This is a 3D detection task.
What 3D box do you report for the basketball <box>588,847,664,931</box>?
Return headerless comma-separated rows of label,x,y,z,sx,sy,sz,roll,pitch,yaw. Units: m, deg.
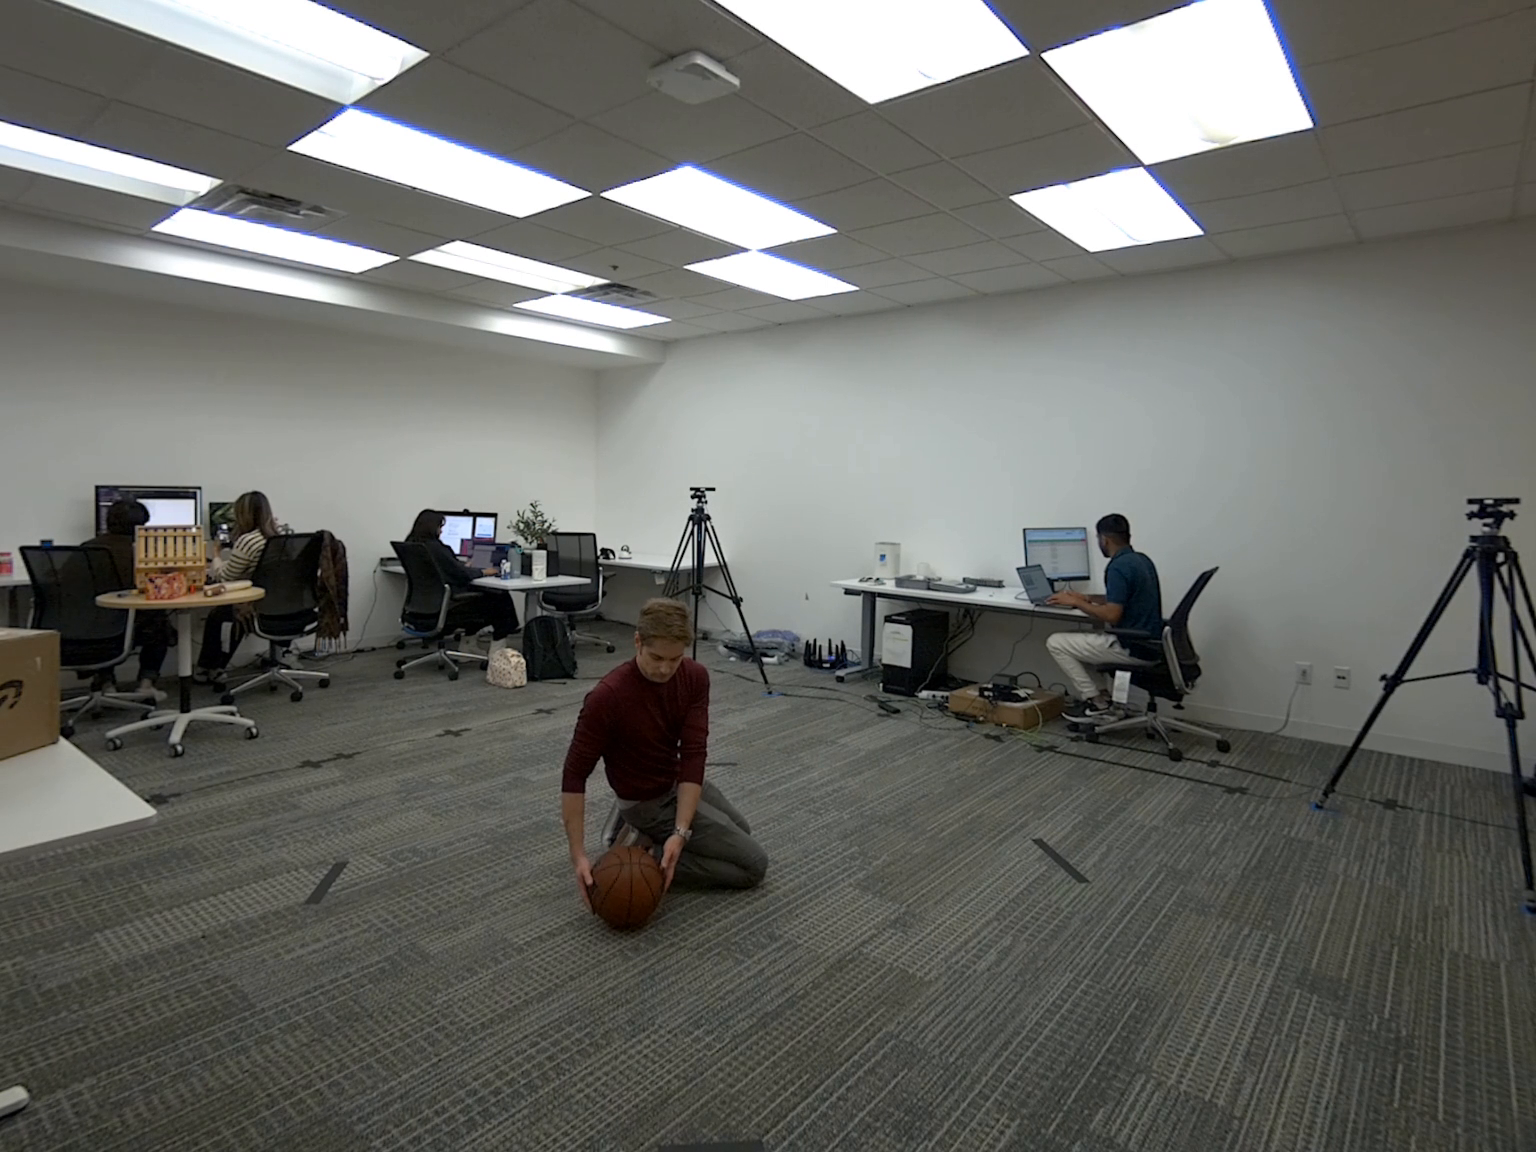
basketball,-0.455,0.978,2.703,0.235,0.235,0.237,1,4,-2
